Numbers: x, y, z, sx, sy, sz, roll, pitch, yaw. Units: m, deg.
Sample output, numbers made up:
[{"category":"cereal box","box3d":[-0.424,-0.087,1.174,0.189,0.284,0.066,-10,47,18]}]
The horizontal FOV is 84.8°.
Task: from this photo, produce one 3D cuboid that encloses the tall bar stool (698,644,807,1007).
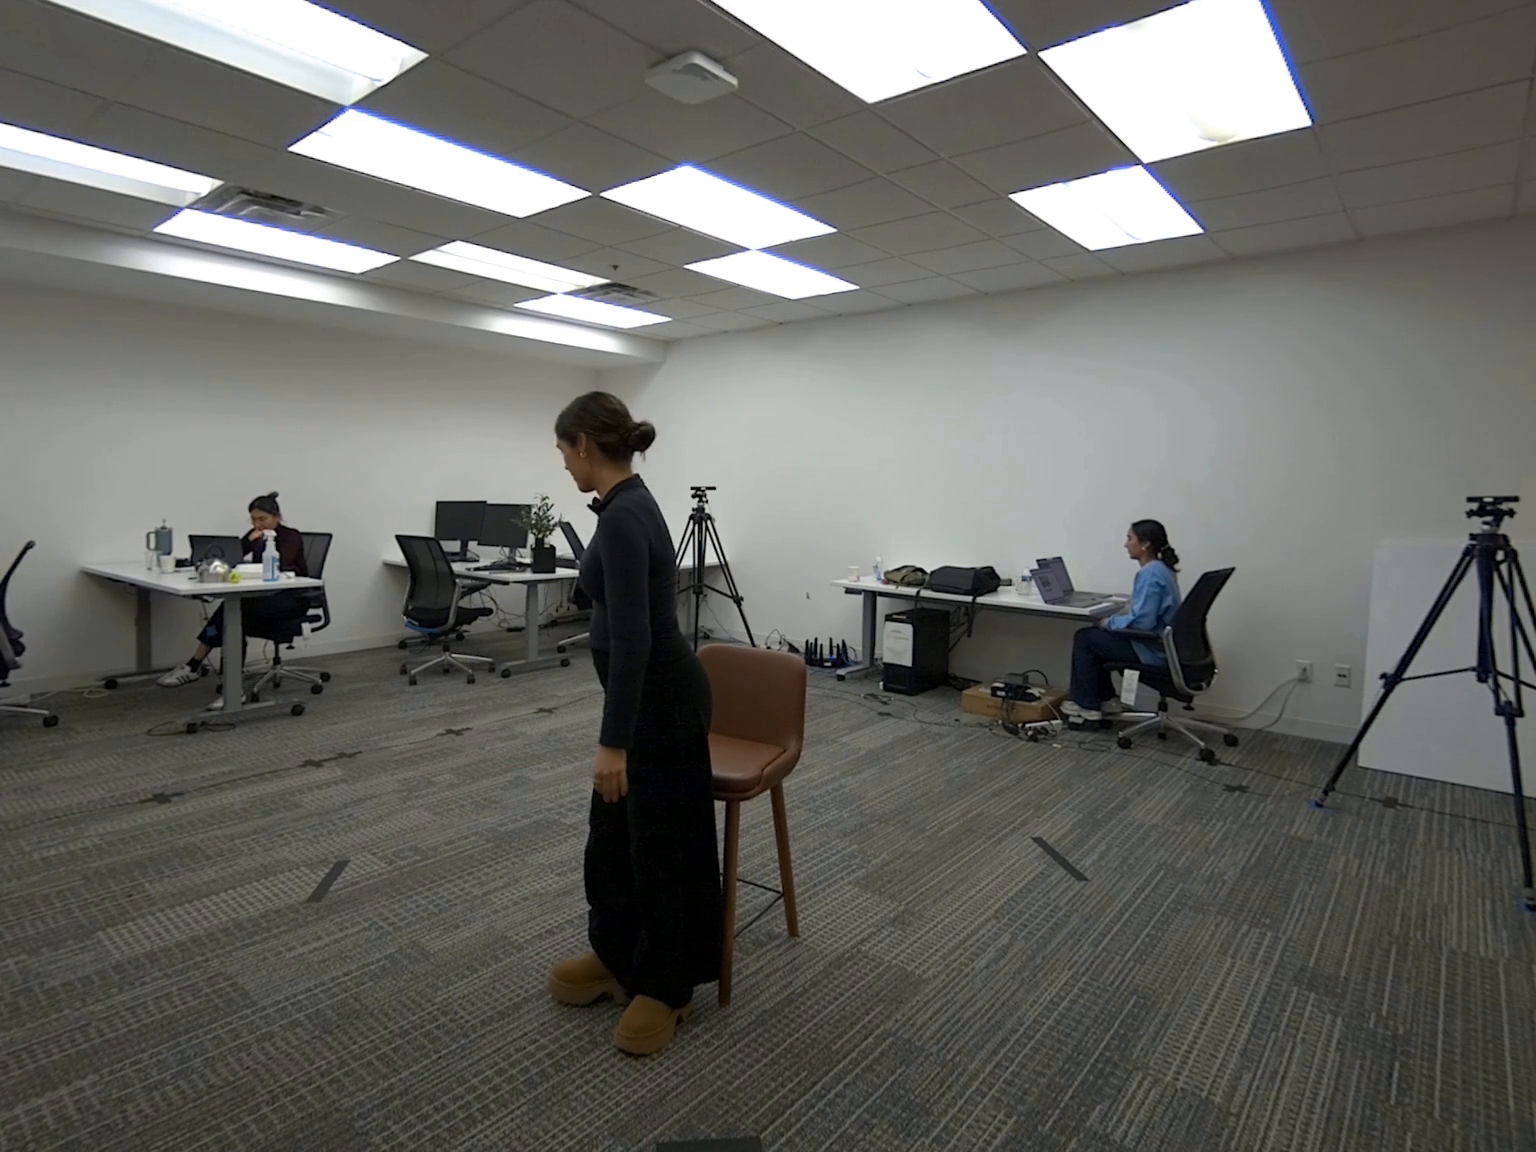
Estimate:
[{"category":"tall bar stool","box3d":[-0.168,0.684,2.550,0.470,0.888,0.454,4,3,32]}]
